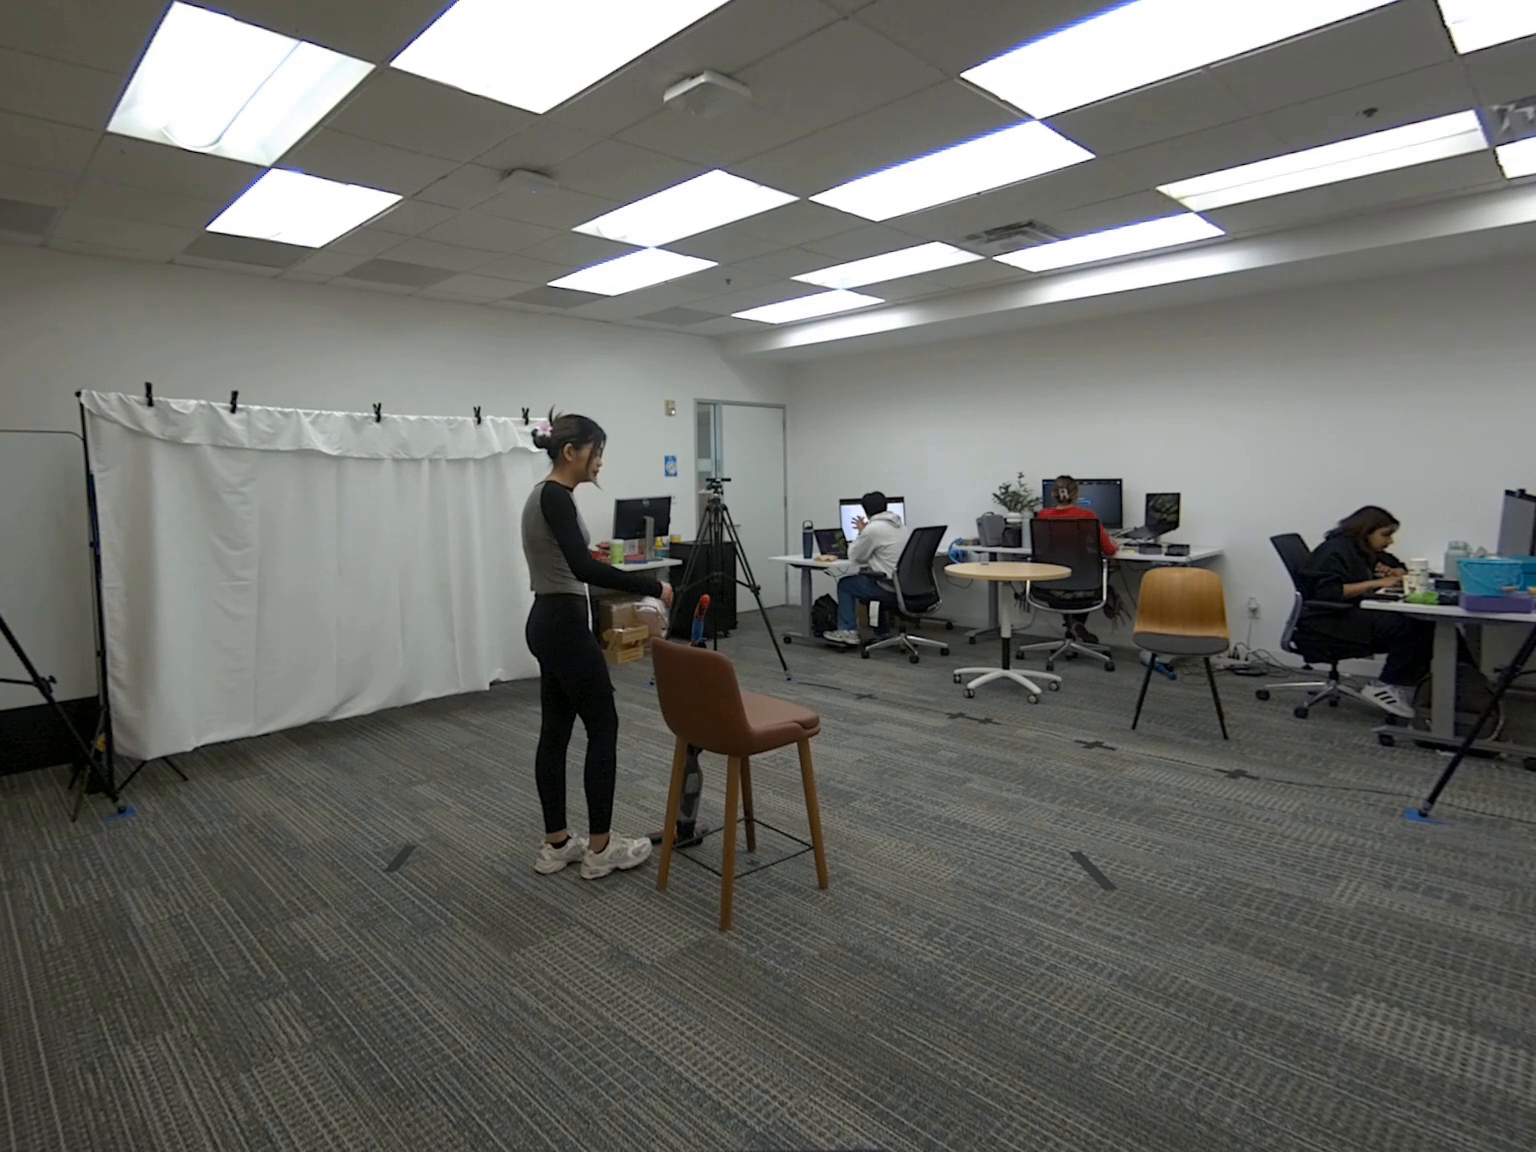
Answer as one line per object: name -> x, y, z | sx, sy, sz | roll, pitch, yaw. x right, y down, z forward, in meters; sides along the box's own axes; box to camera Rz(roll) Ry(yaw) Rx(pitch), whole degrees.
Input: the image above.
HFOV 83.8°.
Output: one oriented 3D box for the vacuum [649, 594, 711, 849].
vacuum -> -0.264, 0.546, 3.114 | 0.247, 1.033, 0.149 | -2, 24, -25
